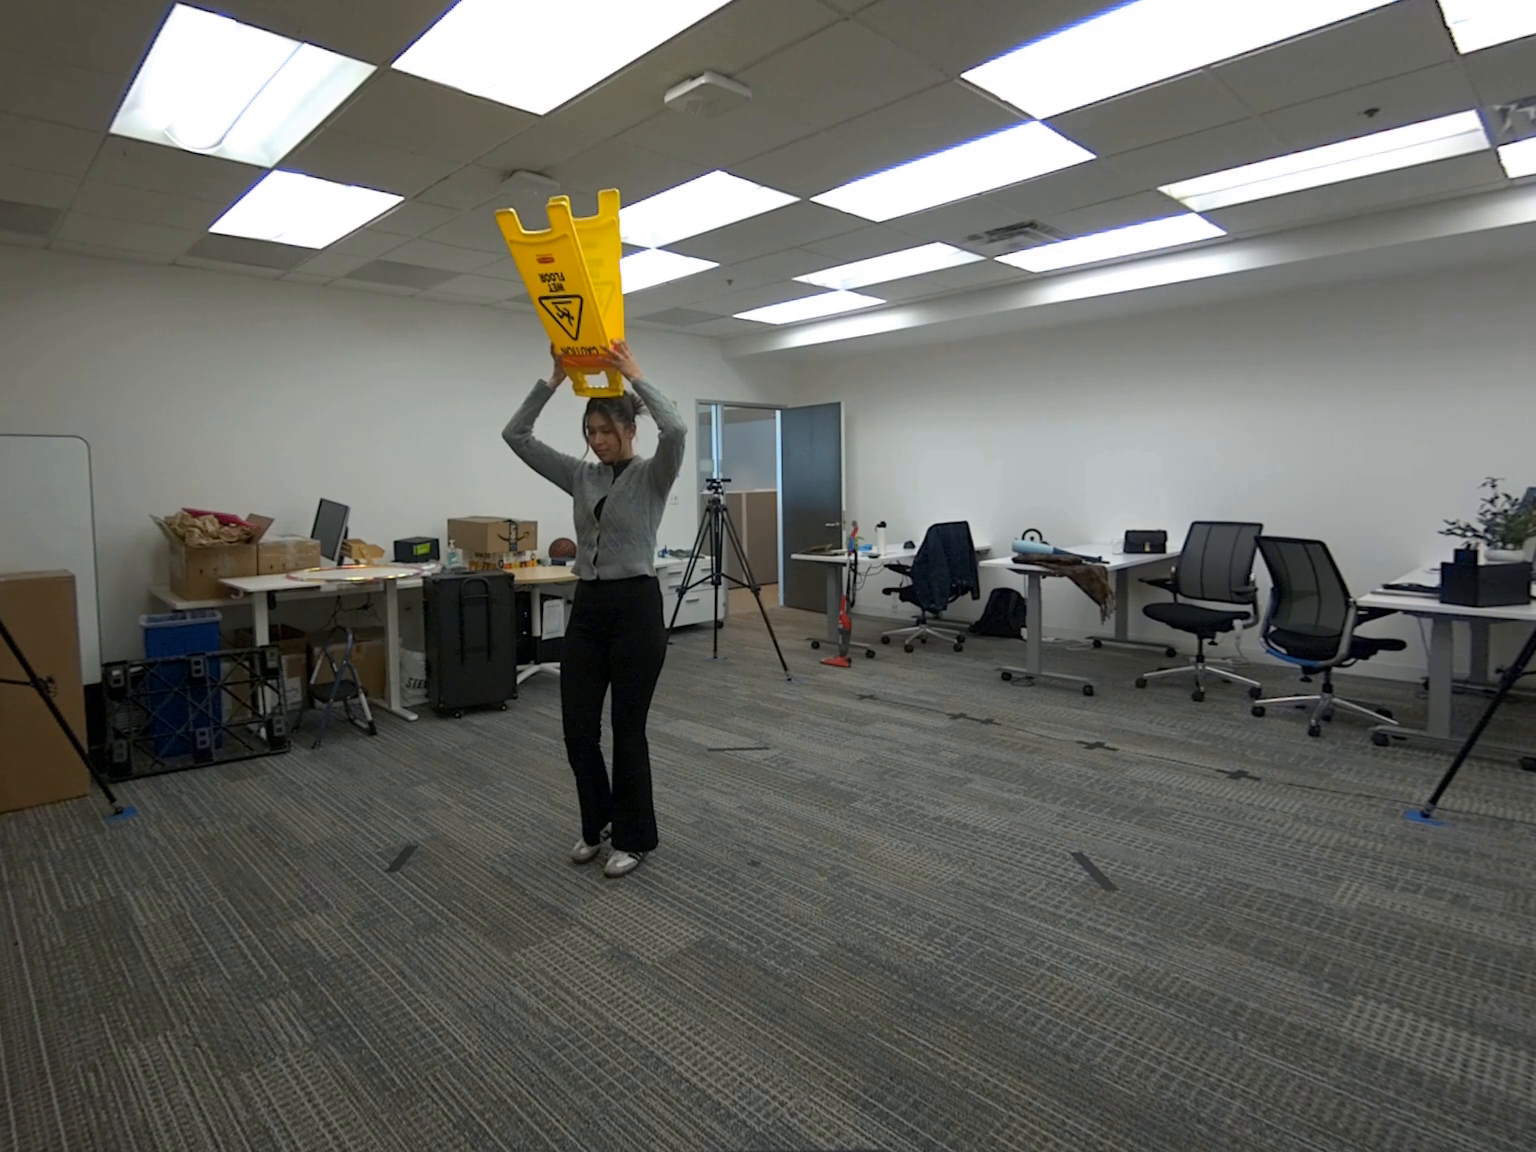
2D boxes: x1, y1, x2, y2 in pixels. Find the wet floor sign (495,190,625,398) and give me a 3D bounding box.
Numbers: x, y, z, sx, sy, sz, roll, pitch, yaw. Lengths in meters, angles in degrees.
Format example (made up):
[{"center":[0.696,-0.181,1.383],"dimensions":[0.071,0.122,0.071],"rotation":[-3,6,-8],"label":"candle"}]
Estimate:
[{"center":[-0.618,-0.904,2.826],"dimensions":[0.289,0.630,0.289],"rotation":[6,30,26],"label":"wet floor sign"}]
